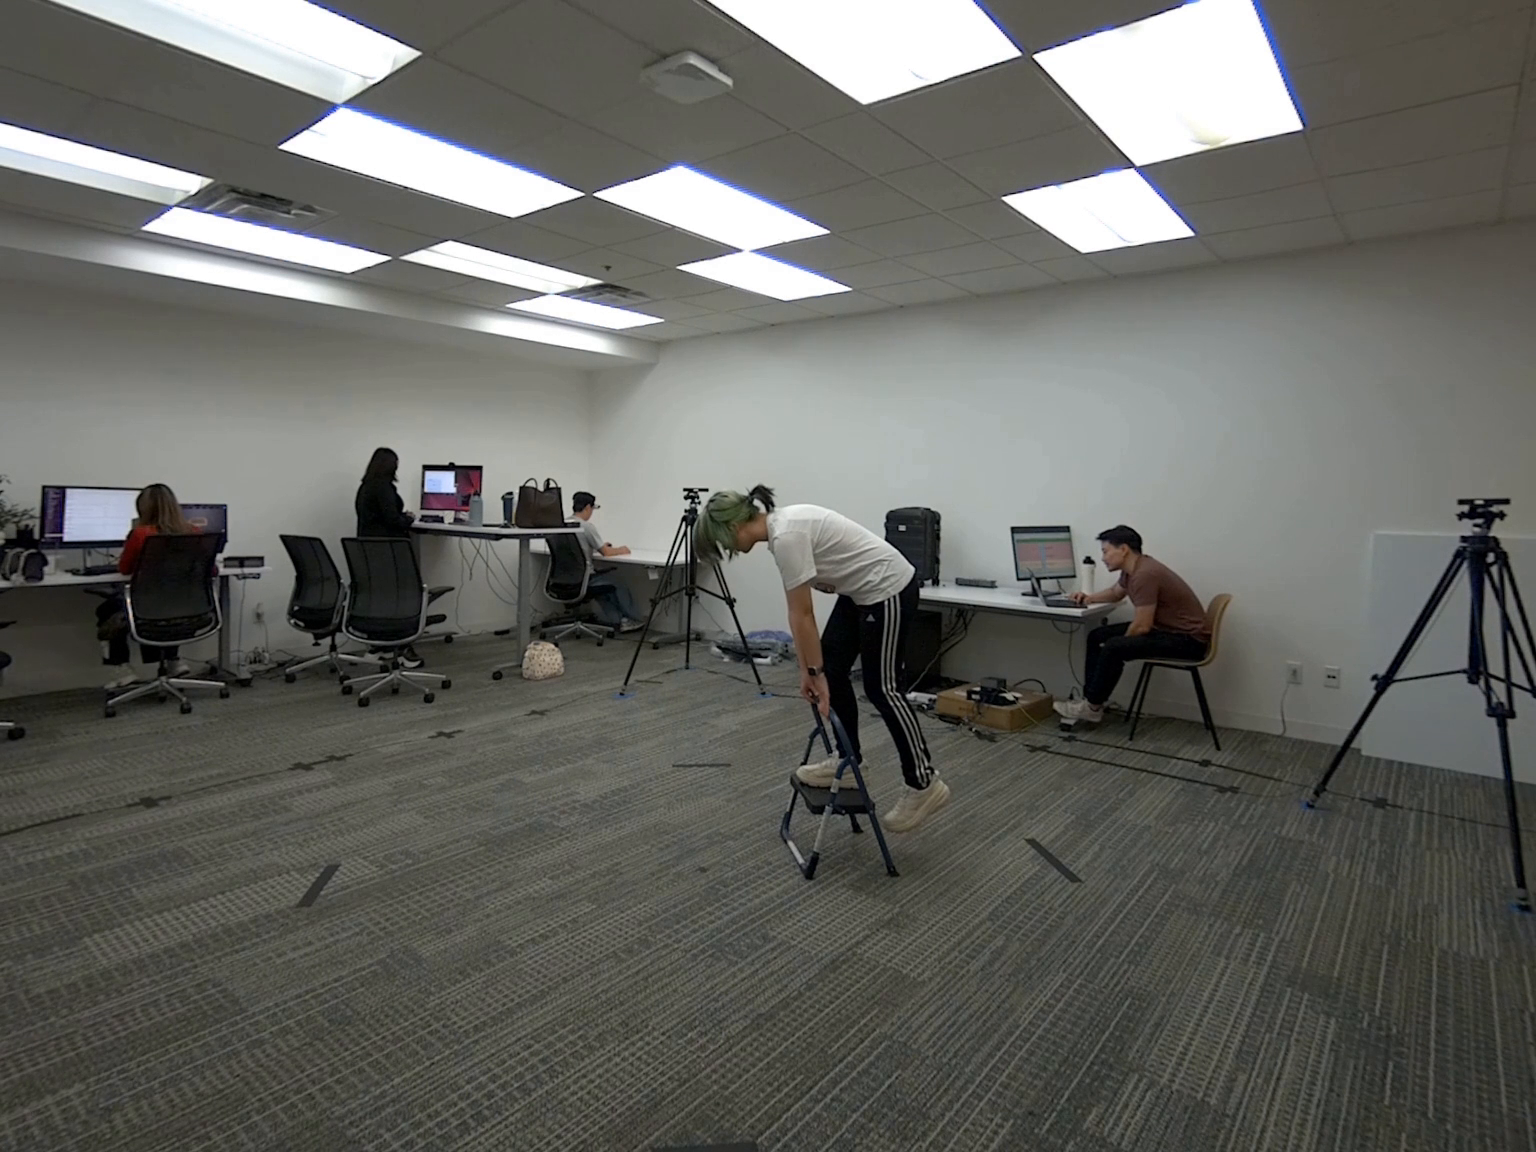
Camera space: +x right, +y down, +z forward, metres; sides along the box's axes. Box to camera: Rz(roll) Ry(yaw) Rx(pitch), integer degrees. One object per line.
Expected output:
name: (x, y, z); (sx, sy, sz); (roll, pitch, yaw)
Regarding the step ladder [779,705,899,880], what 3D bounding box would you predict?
step ladder: (0.259, 0.768, 3.254); (0.345, 0.604, 0.437); (1, 4, -12)
